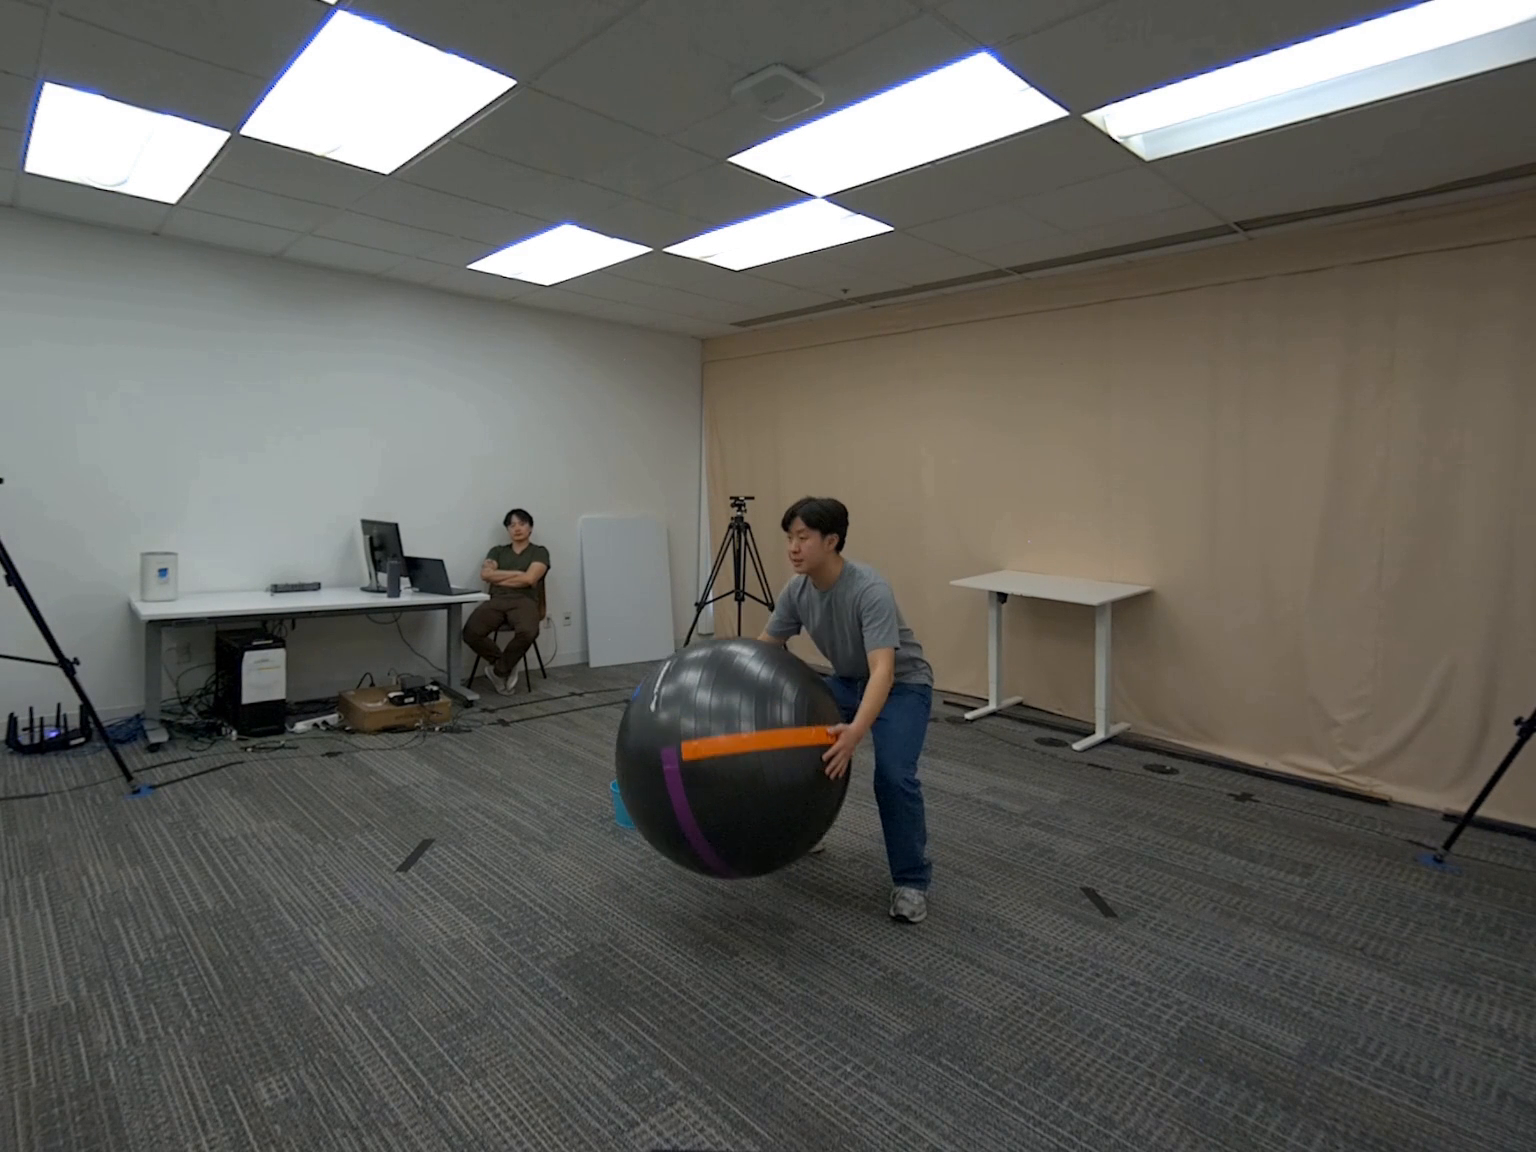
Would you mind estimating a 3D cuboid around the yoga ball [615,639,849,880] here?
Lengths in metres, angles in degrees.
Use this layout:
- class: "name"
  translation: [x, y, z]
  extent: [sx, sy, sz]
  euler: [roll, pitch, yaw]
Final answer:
- class: "yoga ball"
  translation: [-0.125, 0.577, 2.729]
  extent: [0.757, 0.756, 0.761]
  euler: [1, 4, -1]
